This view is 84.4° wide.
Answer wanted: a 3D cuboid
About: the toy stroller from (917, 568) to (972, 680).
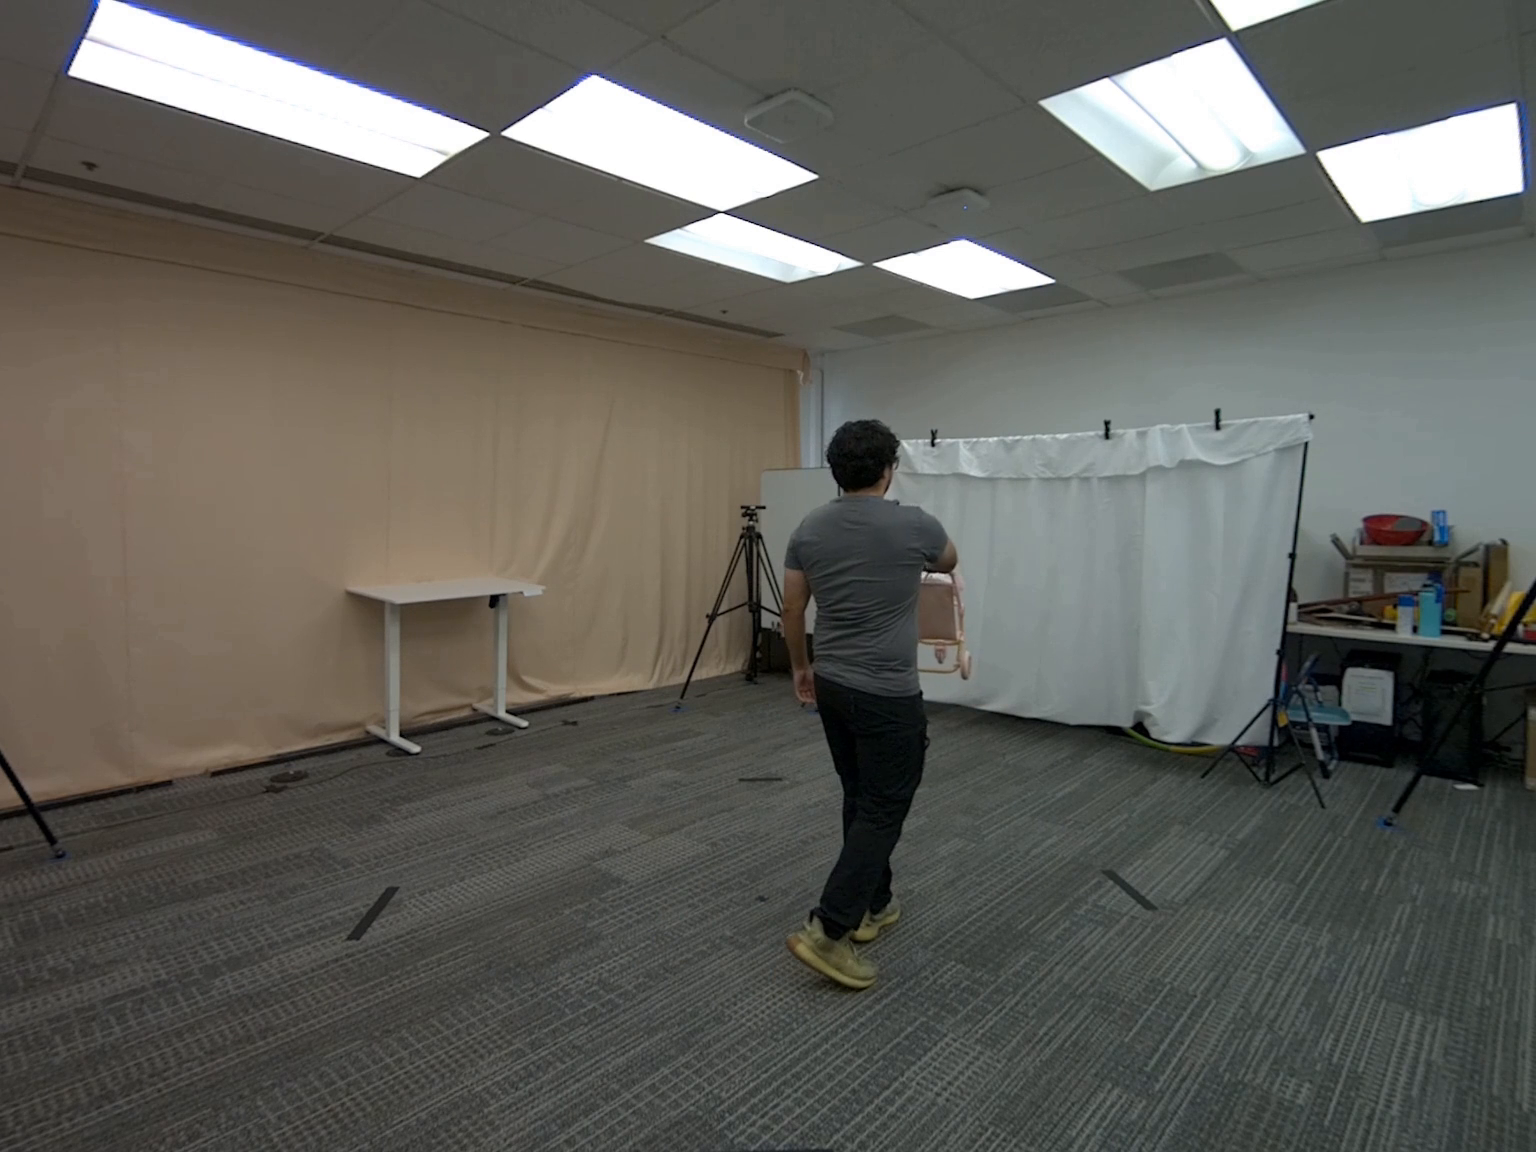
[{"bbox_3d":[0.651,0.152,3.275,0.288,0.528,0.337,2,18,24],"label":"toy stroller"}]
